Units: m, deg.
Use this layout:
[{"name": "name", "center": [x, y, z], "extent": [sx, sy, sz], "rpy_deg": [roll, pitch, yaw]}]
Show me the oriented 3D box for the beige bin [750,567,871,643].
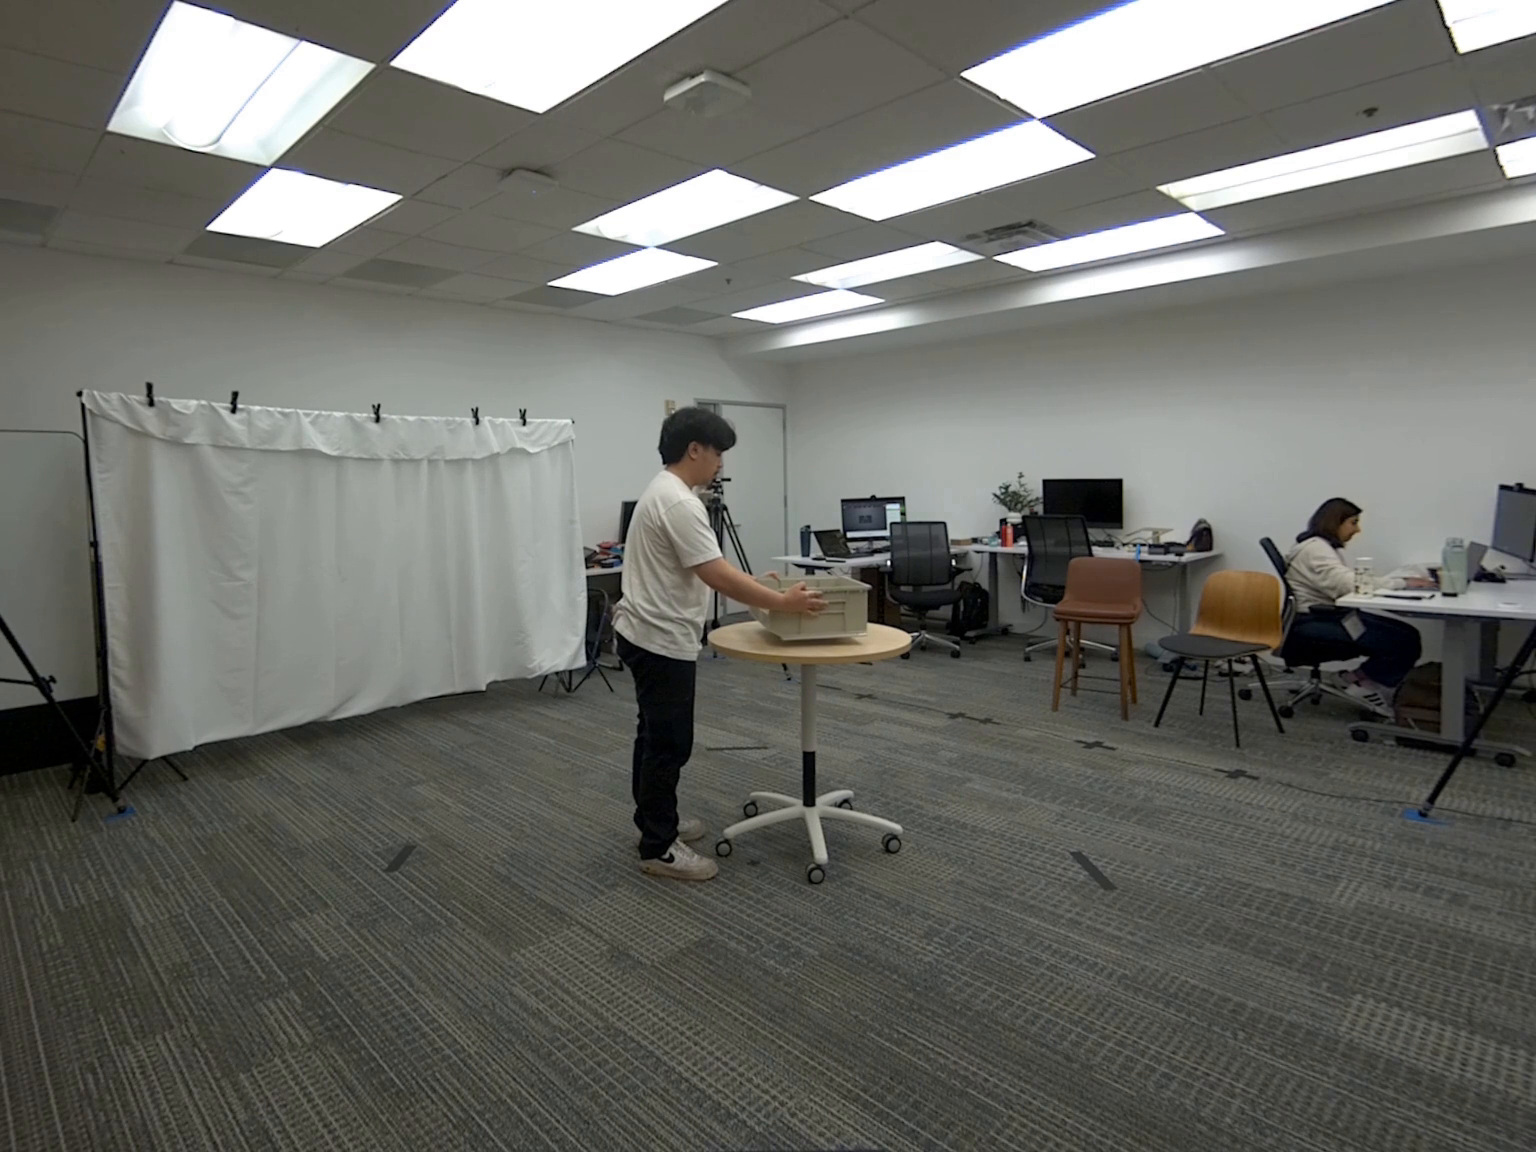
[{"name": "beige bin", "center": [0.145, 0.112, 3.212], "extent": [0.374, 0.188, 0.427], "rpy_deg": [0, 4, -9]}]
